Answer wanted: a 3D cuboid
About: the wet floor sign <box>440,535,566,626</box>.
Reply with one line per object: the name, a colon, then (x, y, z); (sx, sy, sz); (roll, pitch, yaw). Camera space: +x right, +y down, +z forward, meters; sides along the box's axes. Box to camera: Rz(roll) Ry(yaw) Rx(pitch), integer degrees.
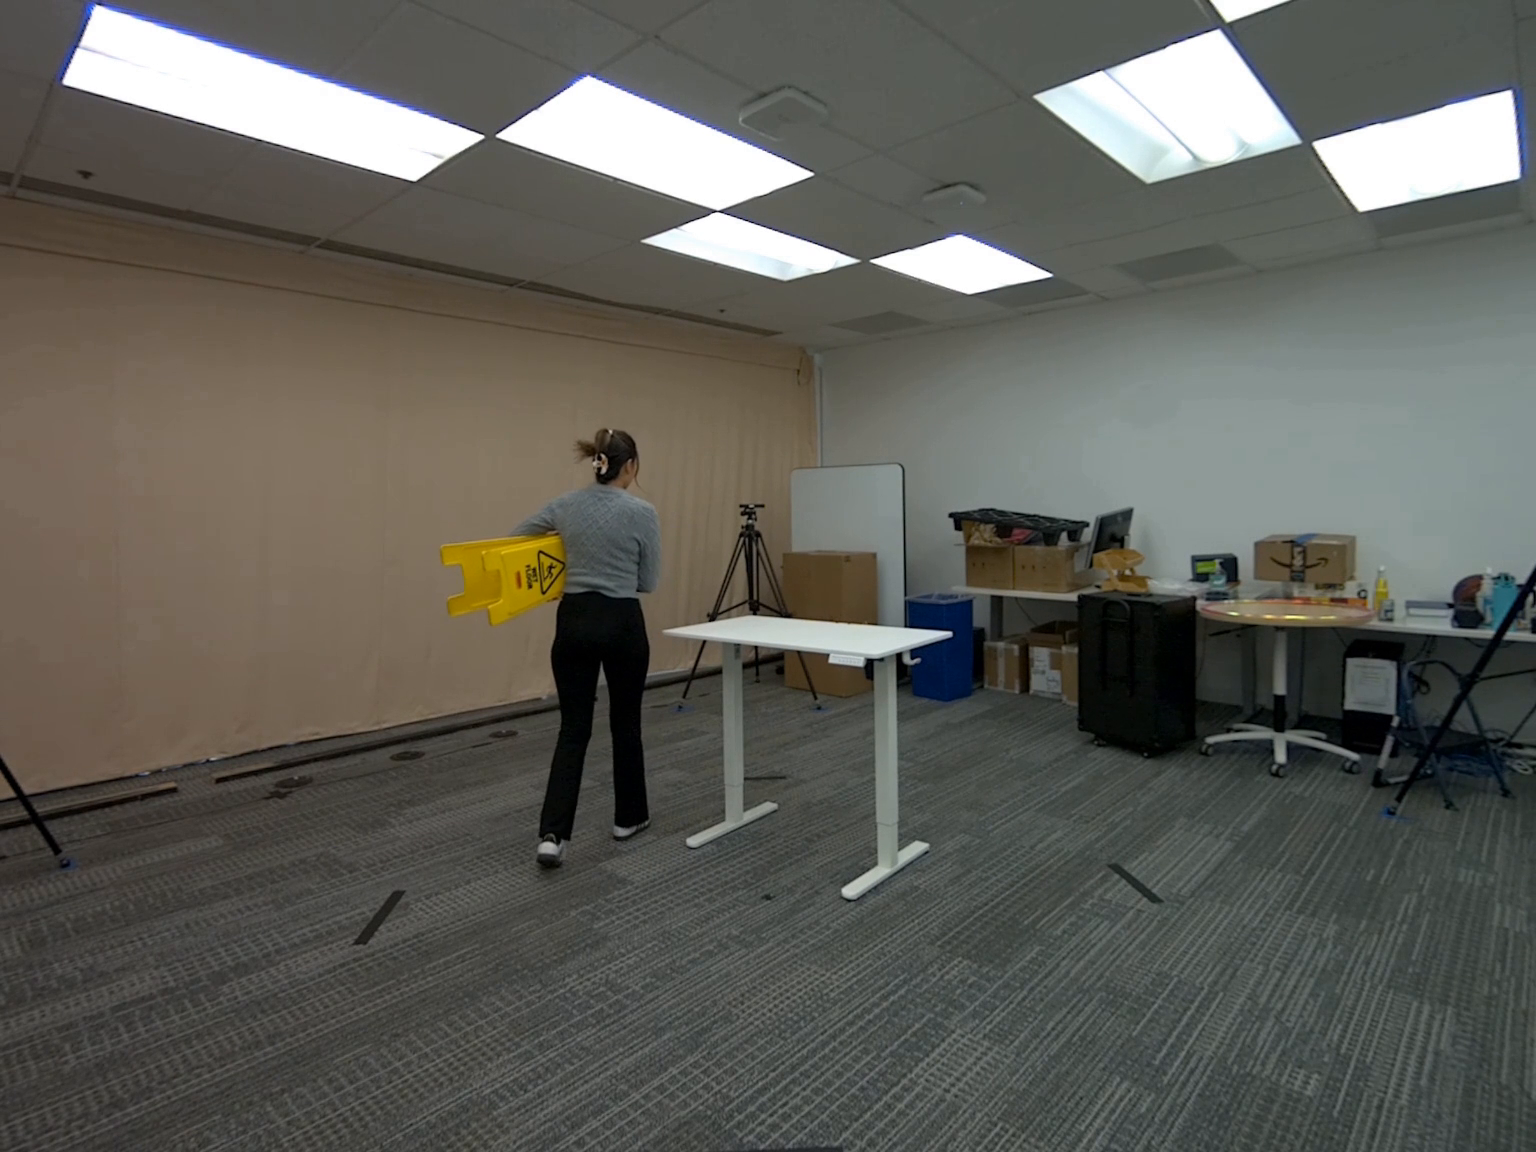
wet floor sign: (-0.949, -0.030, 3.377); (0.299, 0.280, 0.630); (4, 14, 37)
